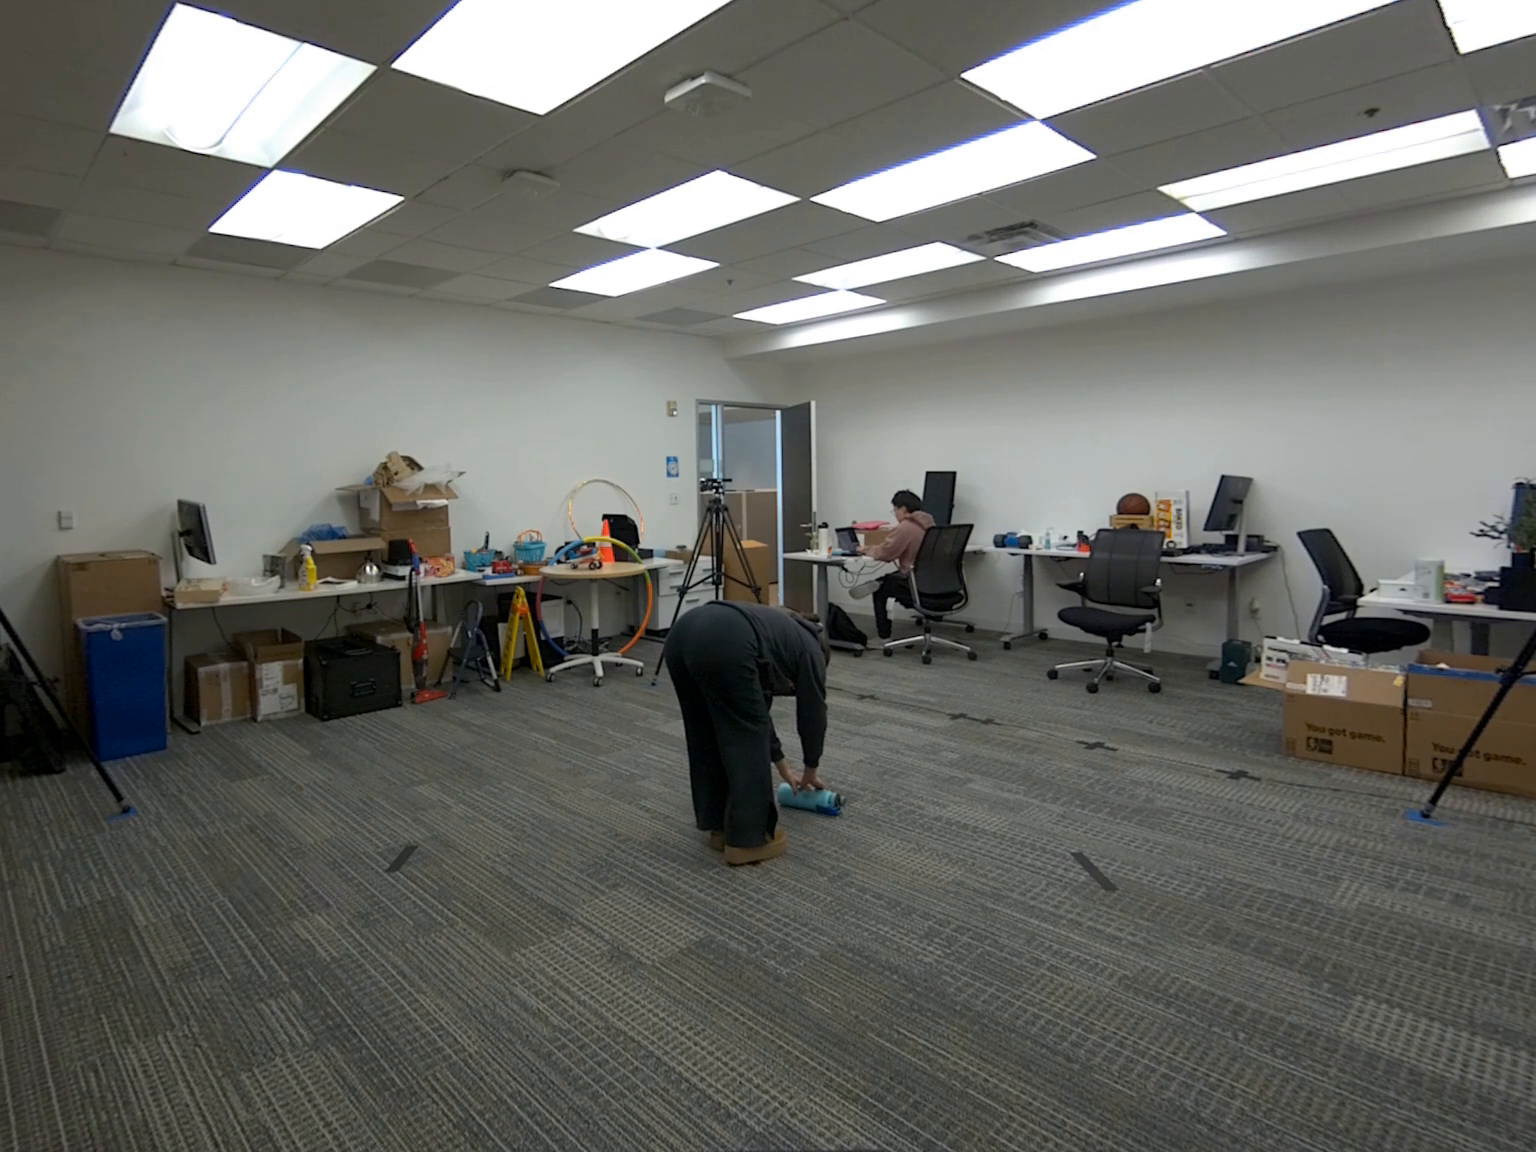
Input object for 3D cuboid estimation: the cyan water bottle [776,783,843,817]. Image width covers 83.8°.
[{"bbox_3d":[0.187,0.943,3.588,0.290,0.092,0.090,3,5,28],"label":"cyan water bottle"}]
